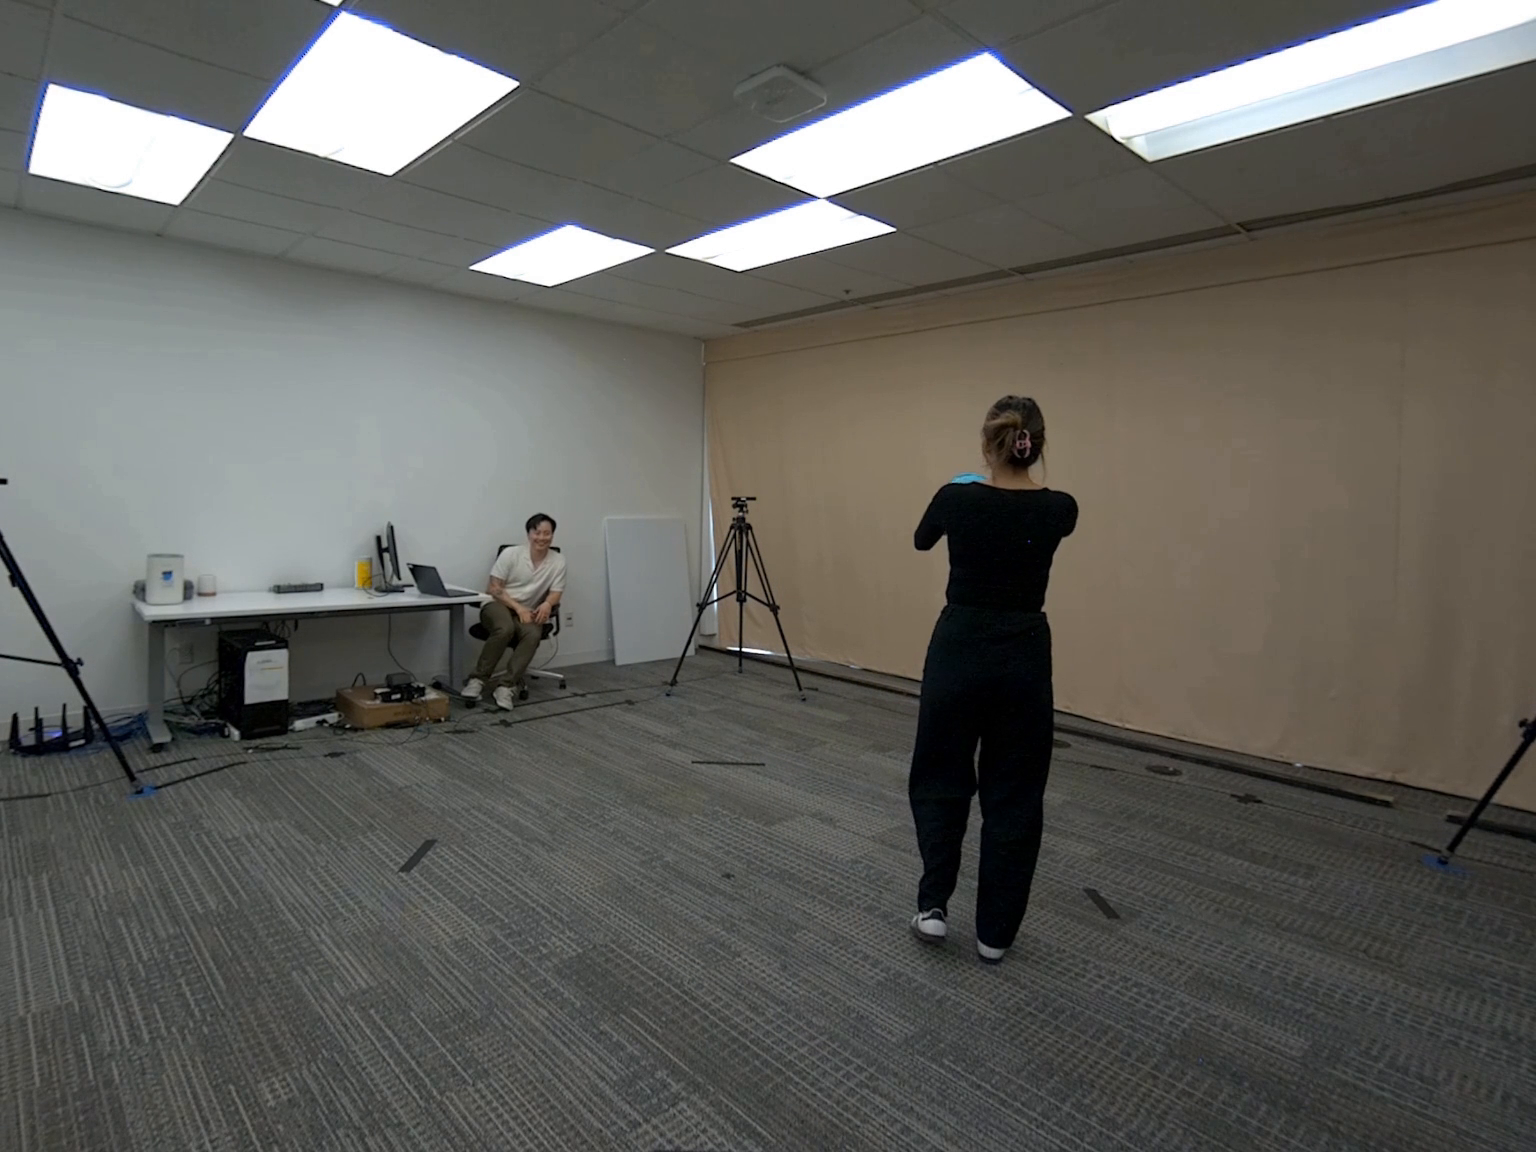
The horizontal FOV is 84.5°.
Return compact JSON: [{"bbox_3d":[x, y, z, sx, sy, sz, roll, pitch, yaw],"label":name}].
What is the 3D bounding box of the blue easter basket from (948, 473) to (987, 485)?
[{"bbox_3d":[0.742,-0.252,3.072,0.246,0.241,0.156,2,15,11],"label":"blue easter basket"}]
